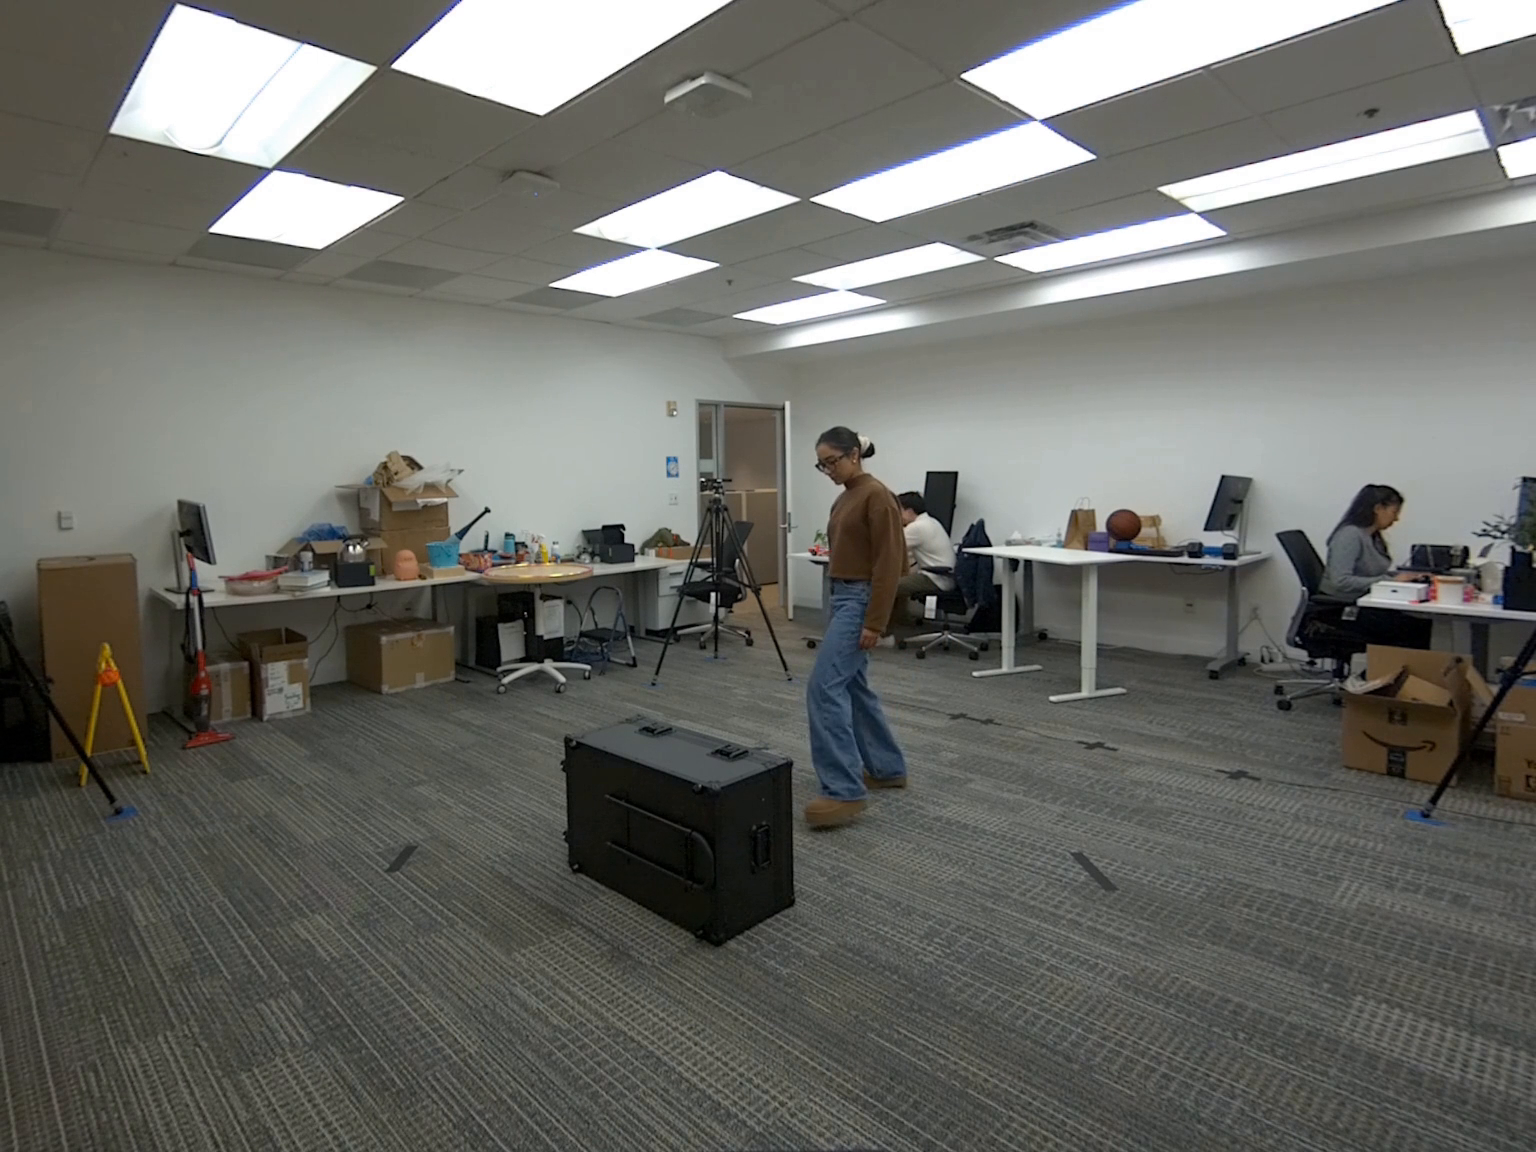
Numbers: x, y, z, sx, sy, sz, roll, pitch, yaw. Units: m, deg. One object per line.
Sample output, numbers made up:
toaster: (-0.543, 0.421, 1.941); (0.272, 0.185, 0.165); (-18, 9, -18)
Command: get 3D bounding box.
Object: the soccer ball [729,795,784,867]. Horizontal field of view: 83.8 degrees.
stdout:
soccer ball: (-0.048, 0.933, 3.150); (0.187, 0.187, 0.188); (-1, 5, -2)
